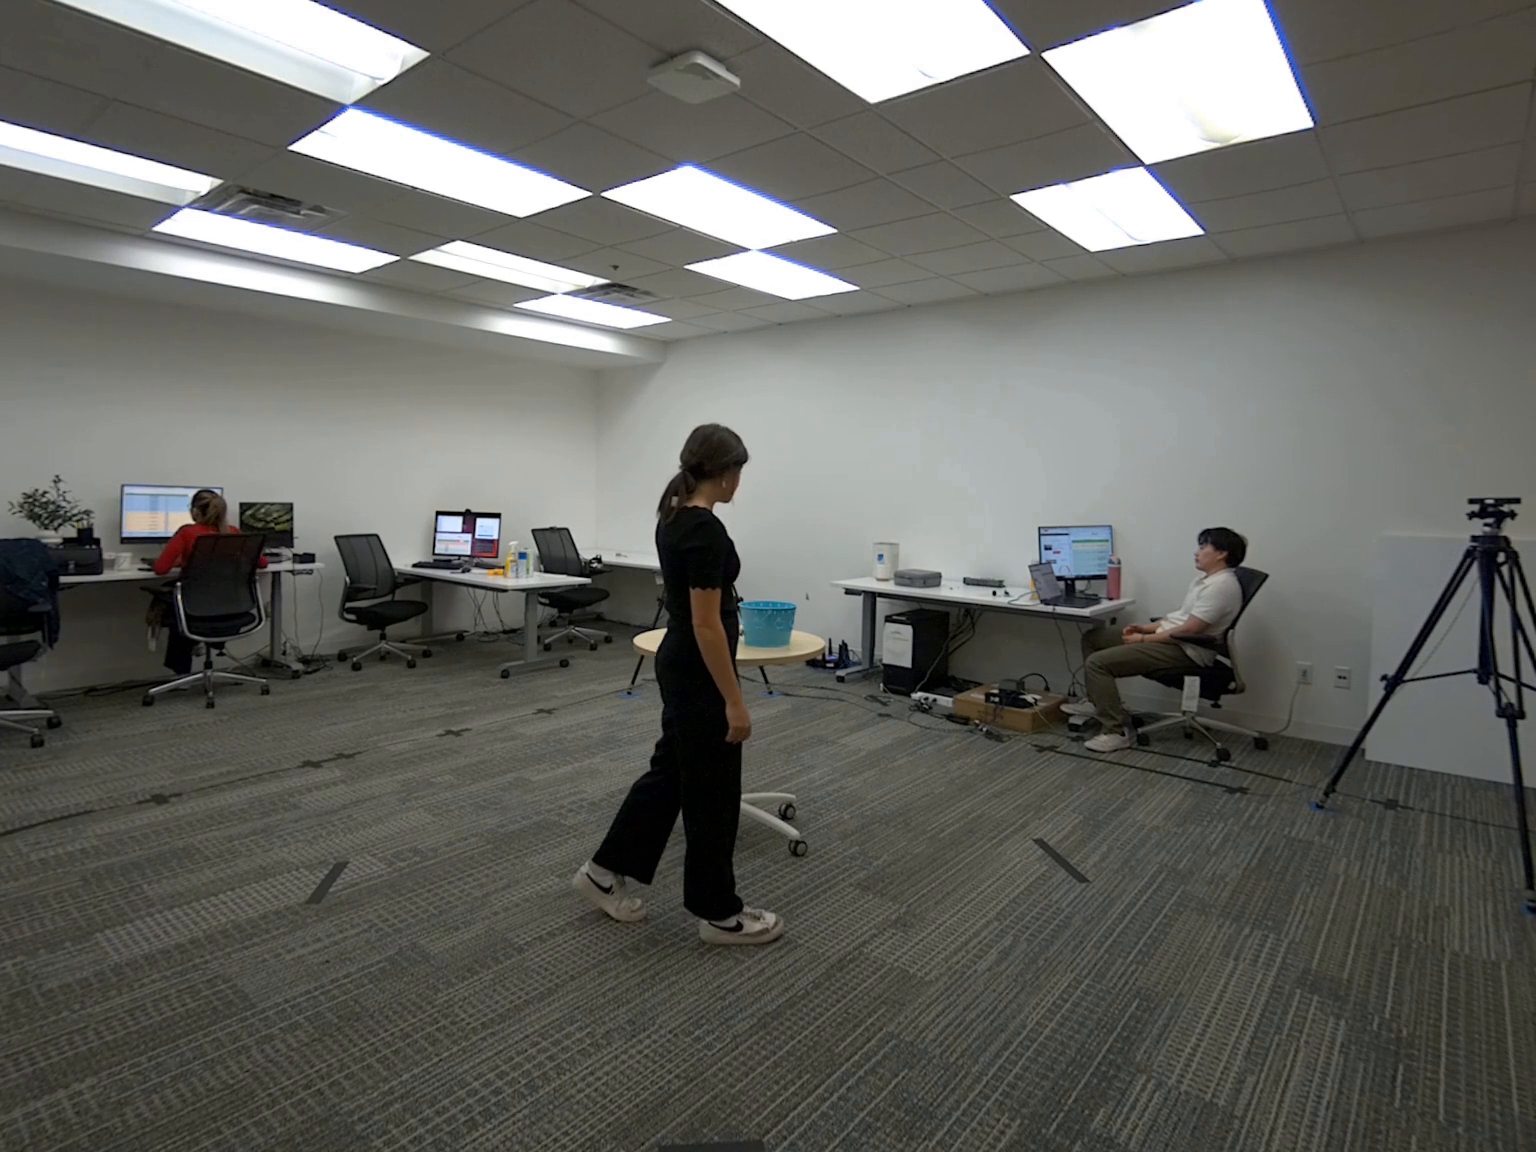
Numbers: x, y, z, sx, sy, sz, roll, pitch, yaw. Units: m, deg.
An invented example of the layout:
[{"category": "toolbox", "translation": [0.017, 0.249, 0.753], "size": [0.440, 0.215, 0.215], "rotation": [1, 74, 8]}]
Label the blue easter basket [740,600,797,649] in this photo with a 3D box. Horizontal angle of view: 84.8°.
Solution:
[{"category": "blue easter basket", "translation": [-0.016, 0.188, 3.361], "size": [0.243, 0.155, 0.245], "rotation": [1, 6, -2]}]
